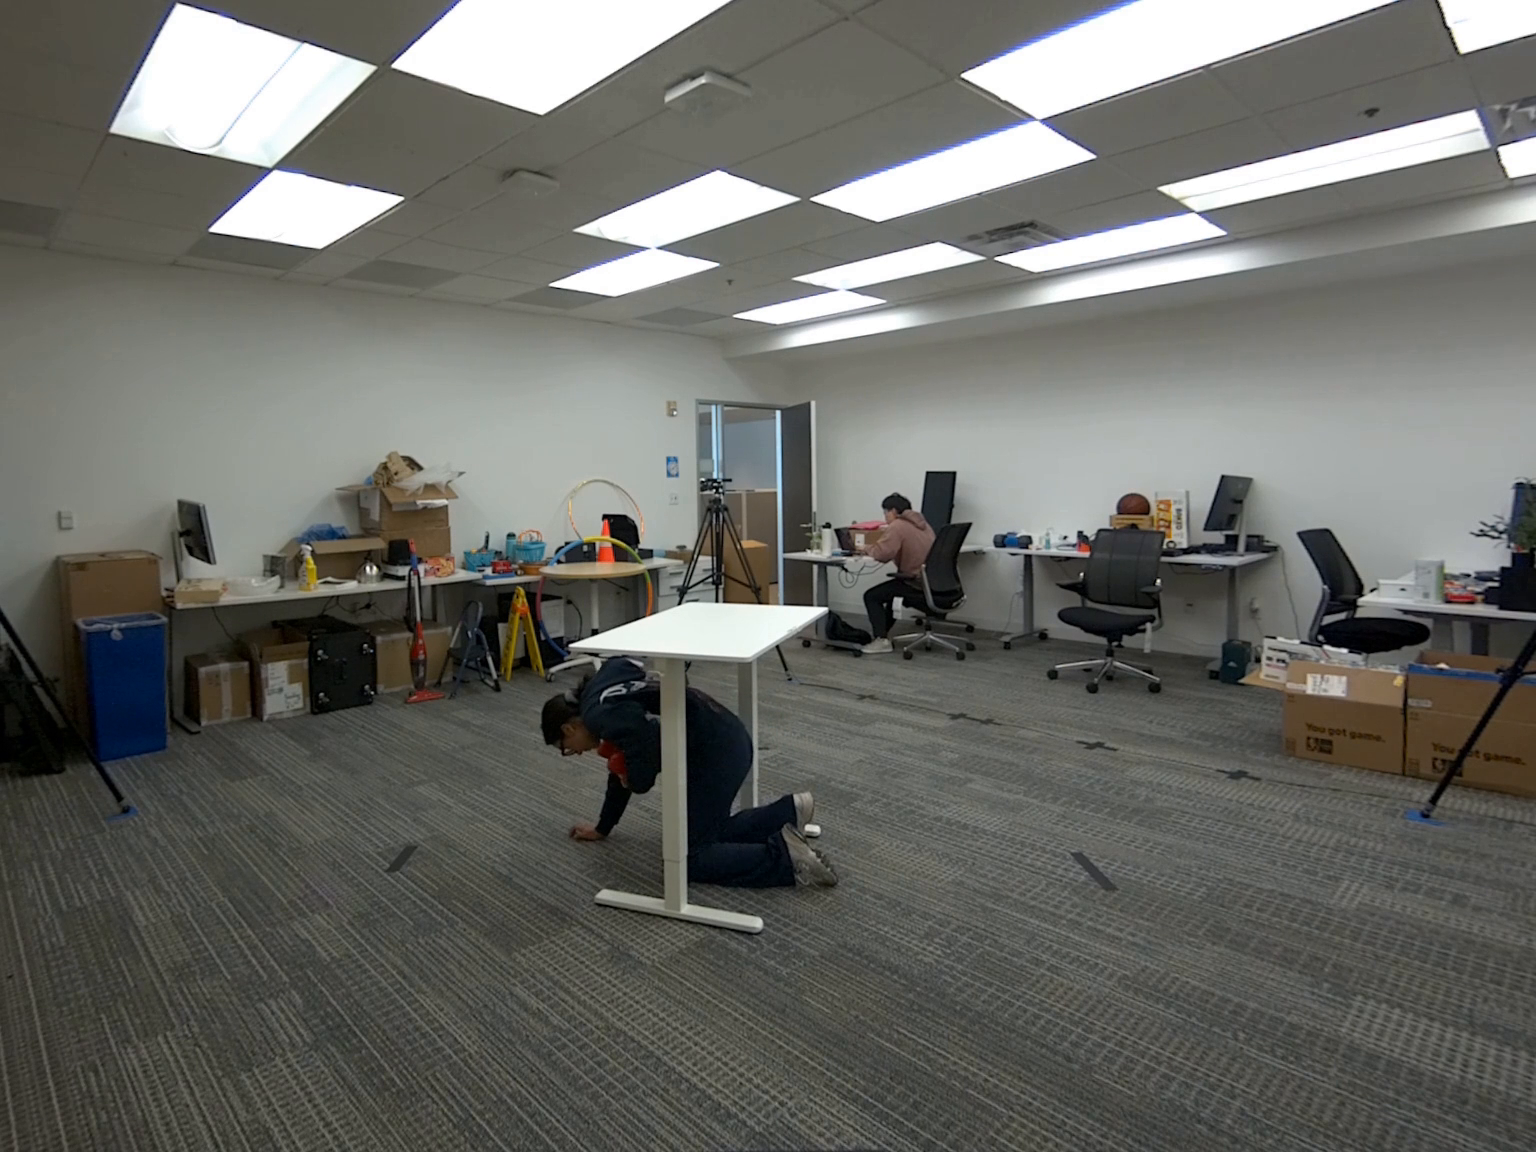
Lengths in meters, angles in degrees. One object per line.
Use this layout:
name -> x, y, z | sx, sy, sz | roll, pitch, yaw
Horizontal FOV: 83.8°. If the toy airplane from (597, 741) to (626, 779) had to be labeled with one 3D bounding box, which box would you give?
toy airplane -> -0.475, 0.590, 2.963 | 0.246, 0.254, 0.162 | -9, 47, -24
